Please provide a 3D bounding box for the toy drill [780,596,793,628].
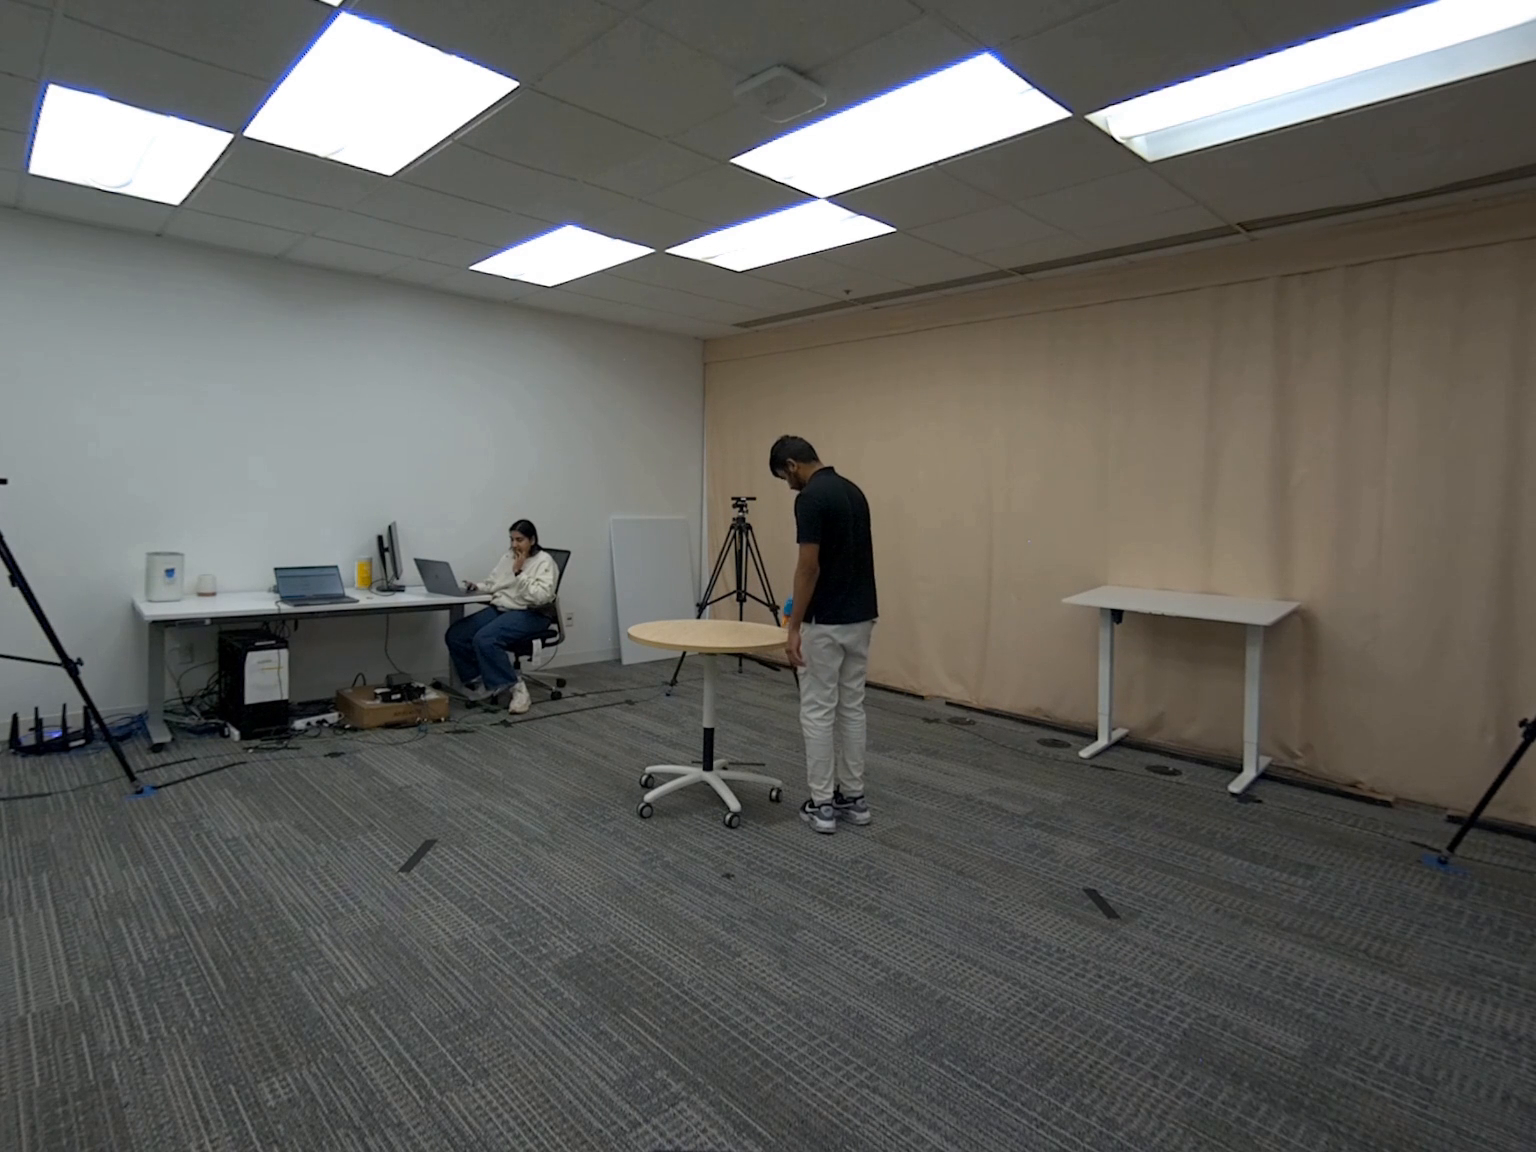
[{"bbox_3d":[0.136,0.177,3.925,0.145,0.169,0.061,19,3,-5],"label":"toy drill"}]
